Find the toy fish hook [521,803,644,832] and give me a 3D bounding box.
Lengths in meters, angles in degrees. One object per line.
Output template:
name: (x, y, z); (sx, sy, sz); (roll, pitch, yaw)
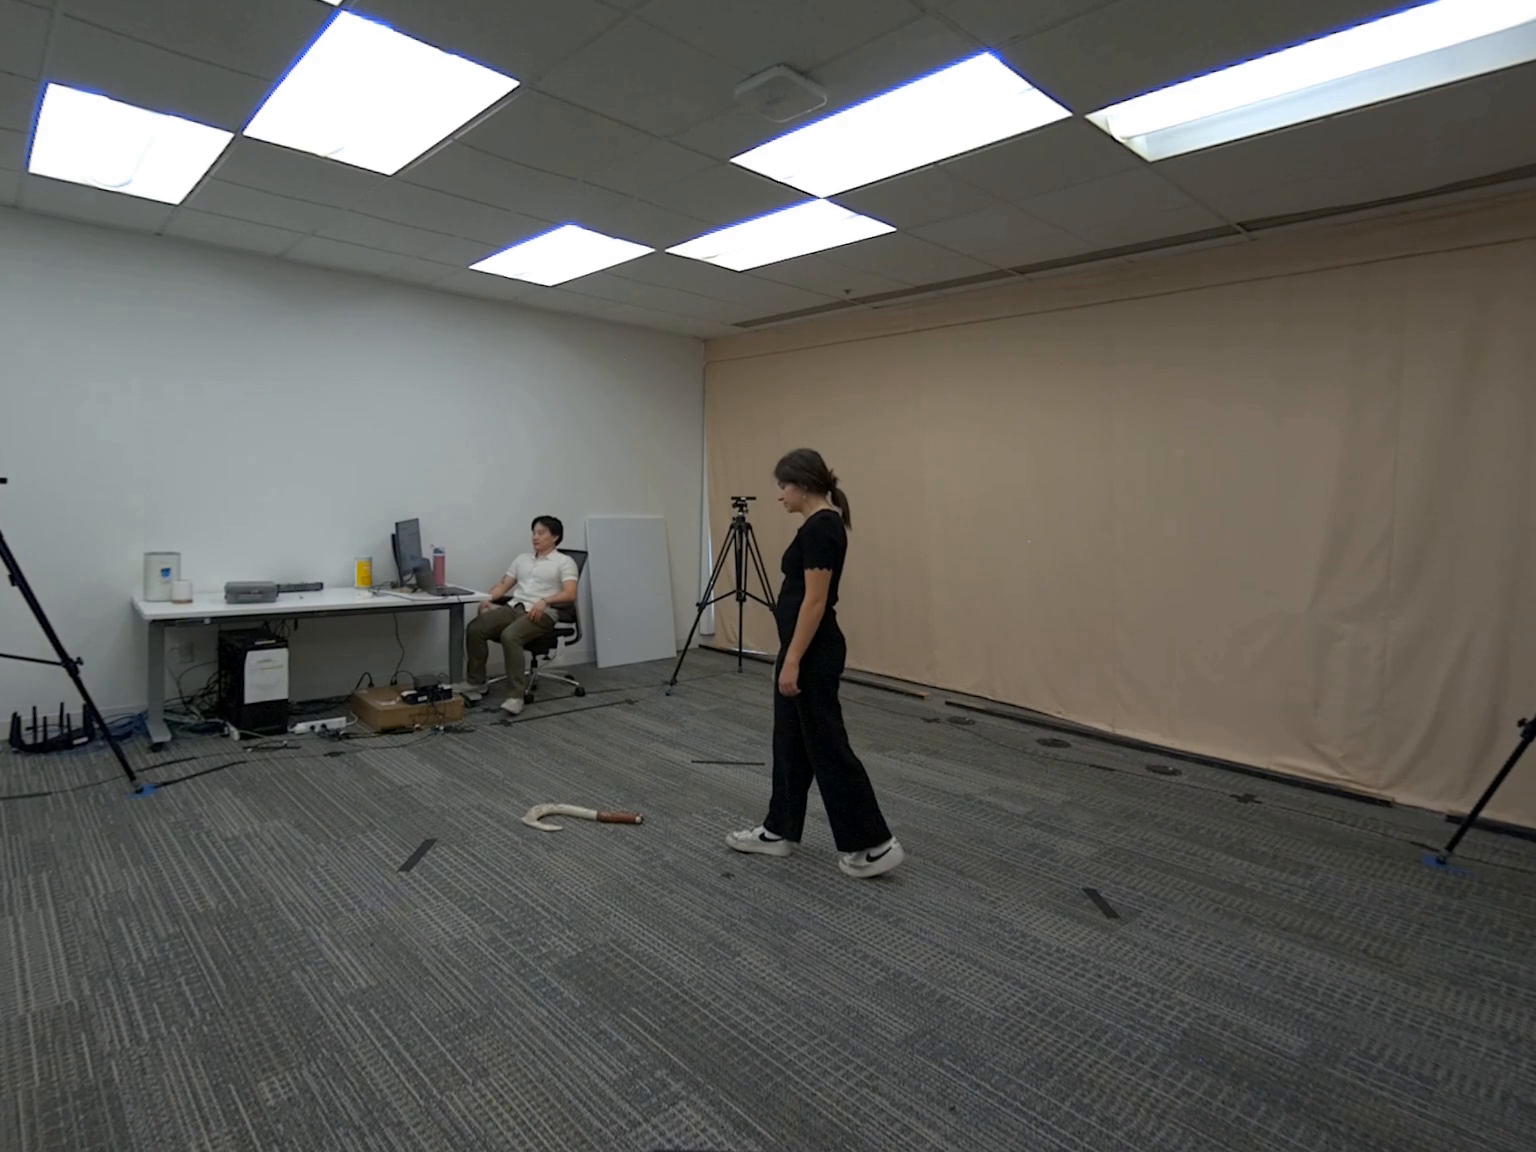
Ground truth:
toy fish hook: (-0.792, 1.031, 3.563); (0.510, 0.048, 0.225); (2, 12, 8)
